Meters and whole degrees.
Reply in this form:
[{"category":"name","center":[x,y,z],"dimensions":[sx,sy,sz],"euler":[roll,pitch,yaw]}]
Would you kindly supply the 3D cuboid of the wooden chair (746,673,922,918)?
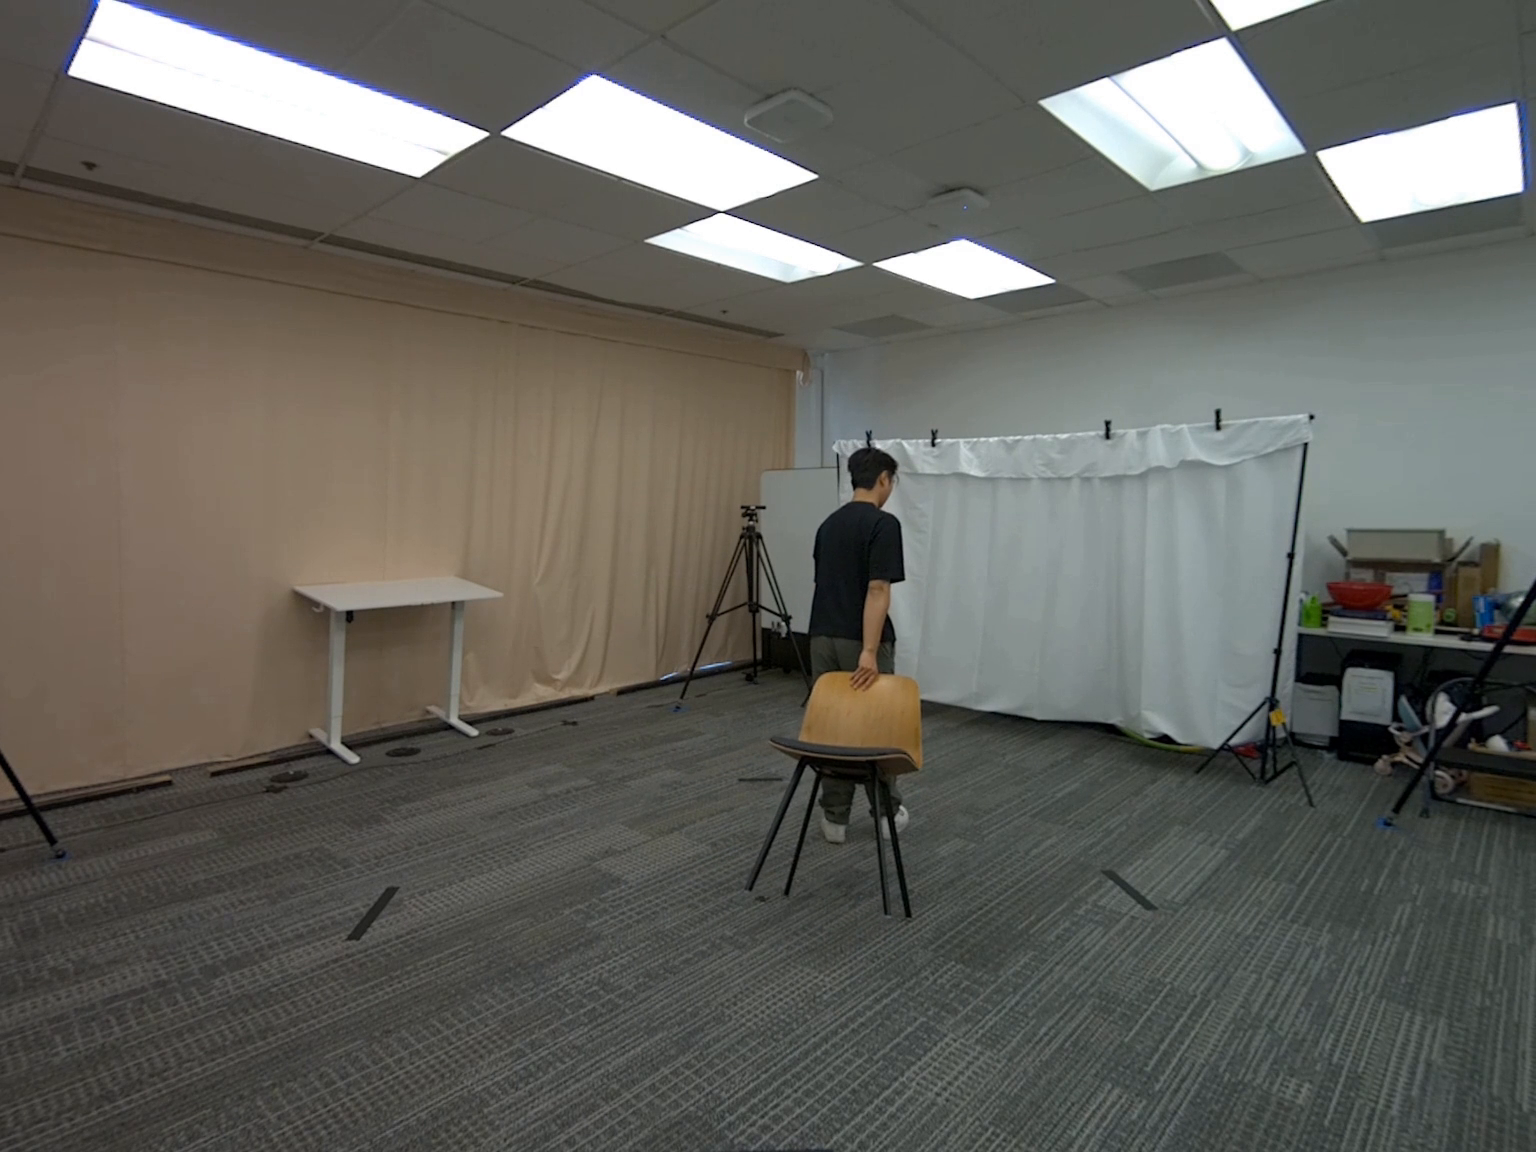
[{"category":"wooden chair","center":[0.266,0.663,2.864],"dimensions":[0.489,0.885,0.507],"euler":[1,-26,21]}]
